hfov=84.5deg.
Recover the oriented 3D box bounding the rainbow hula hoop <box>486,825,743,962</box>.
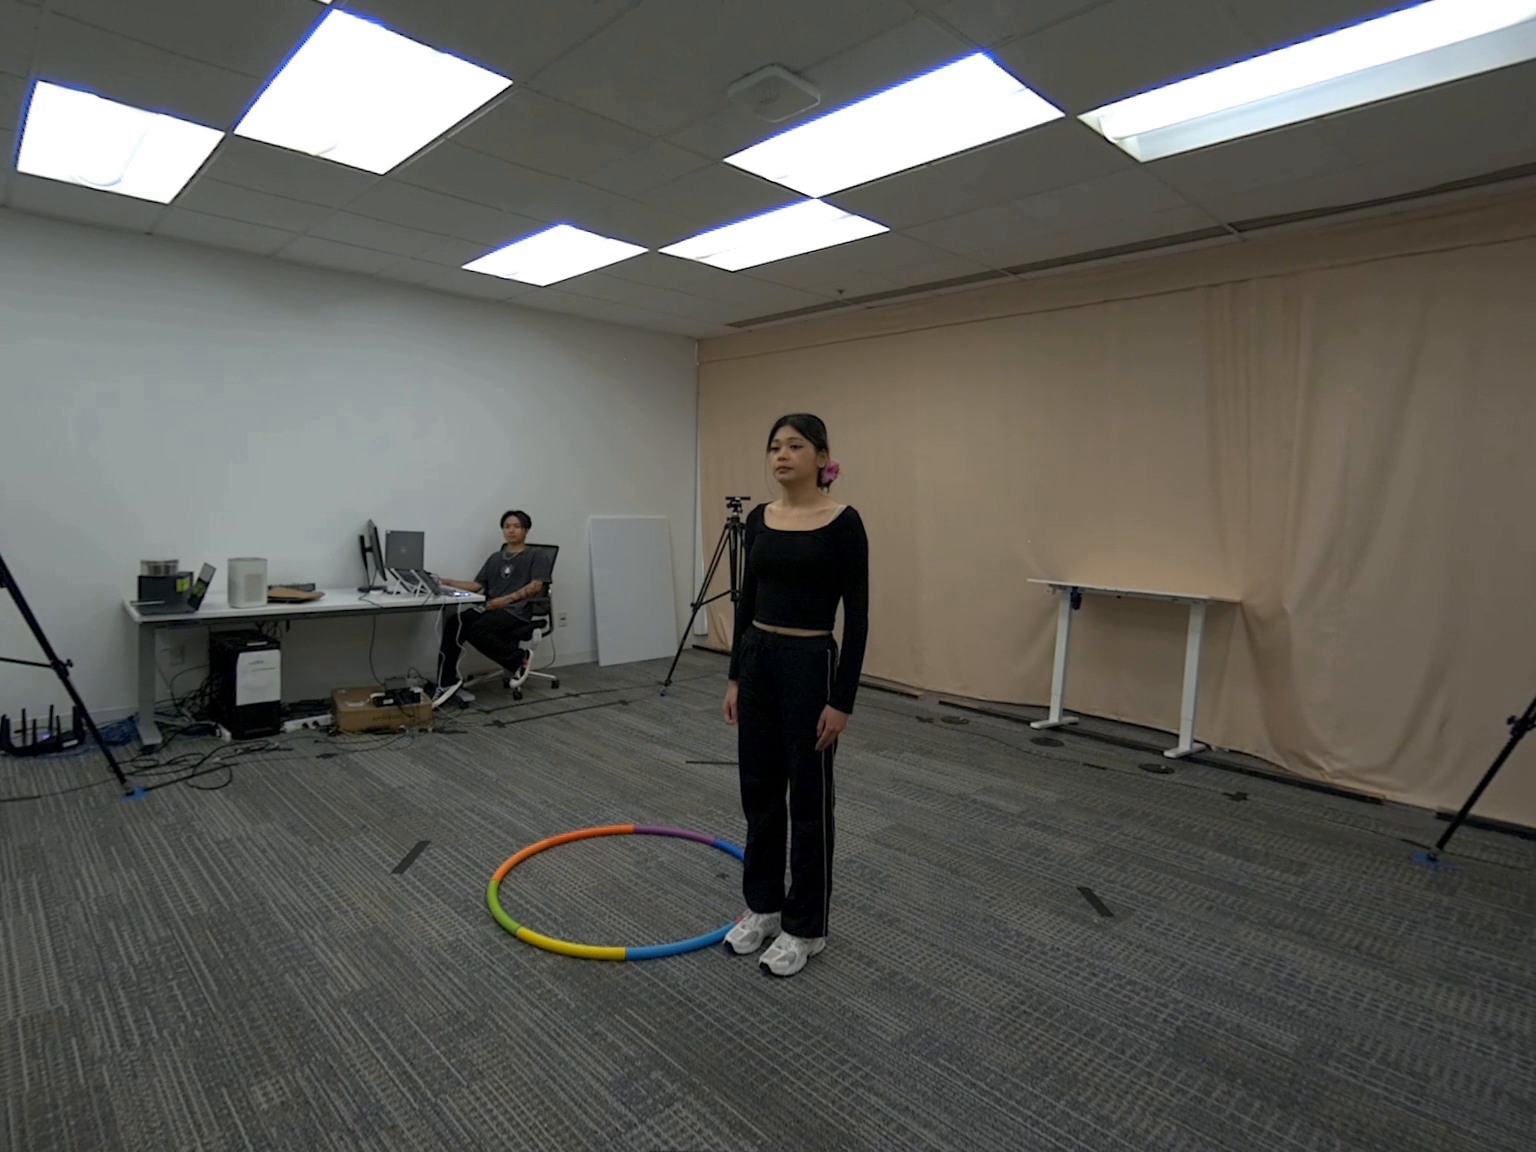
[{"bbox_3d":[-0.493,1.076,3.005,0.978,0.035,0.982,1,5,-1],"label":"rainbow hula hoop"}]
